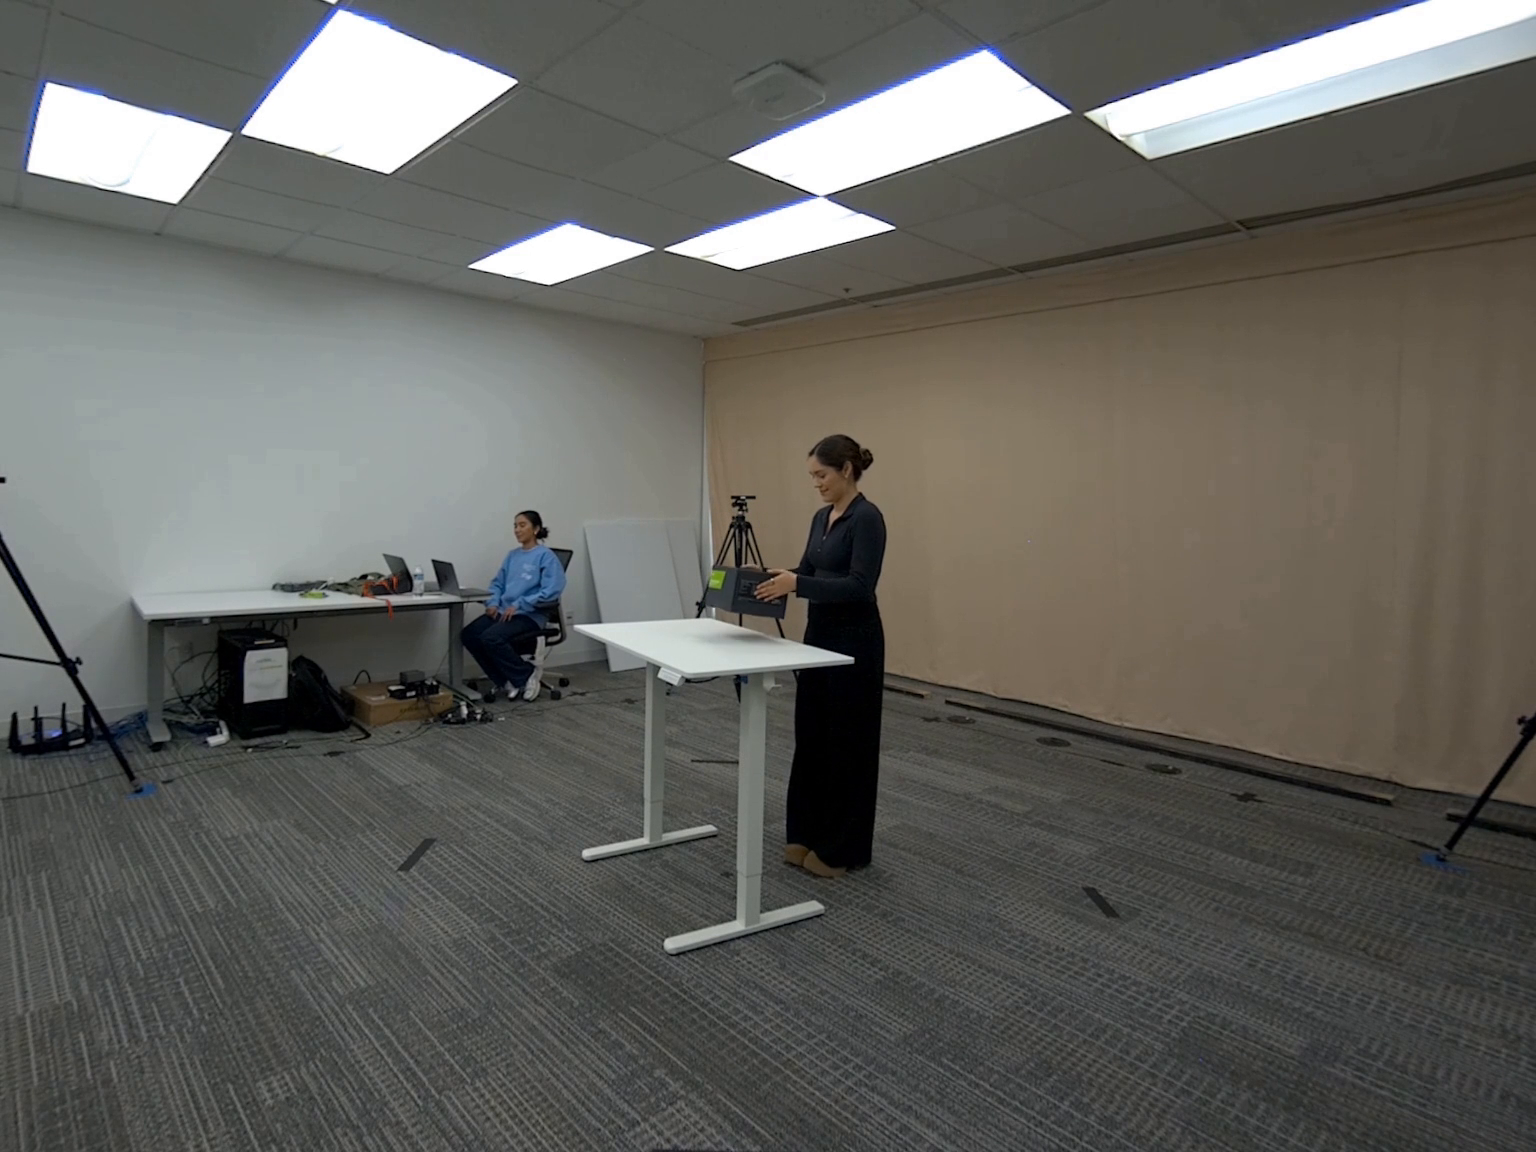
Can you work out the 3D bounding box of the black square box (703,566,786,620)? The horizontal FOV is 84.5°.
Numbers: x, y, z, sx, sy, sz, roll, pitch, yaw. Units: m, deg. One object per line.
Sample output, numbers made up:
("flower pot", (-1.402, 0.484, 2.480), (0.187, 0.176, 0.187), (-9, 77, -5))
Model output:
("black square box", (-0.079, 0.058, 3.063), (0.212, 0.156, 0.232), (7, 1, -25))
